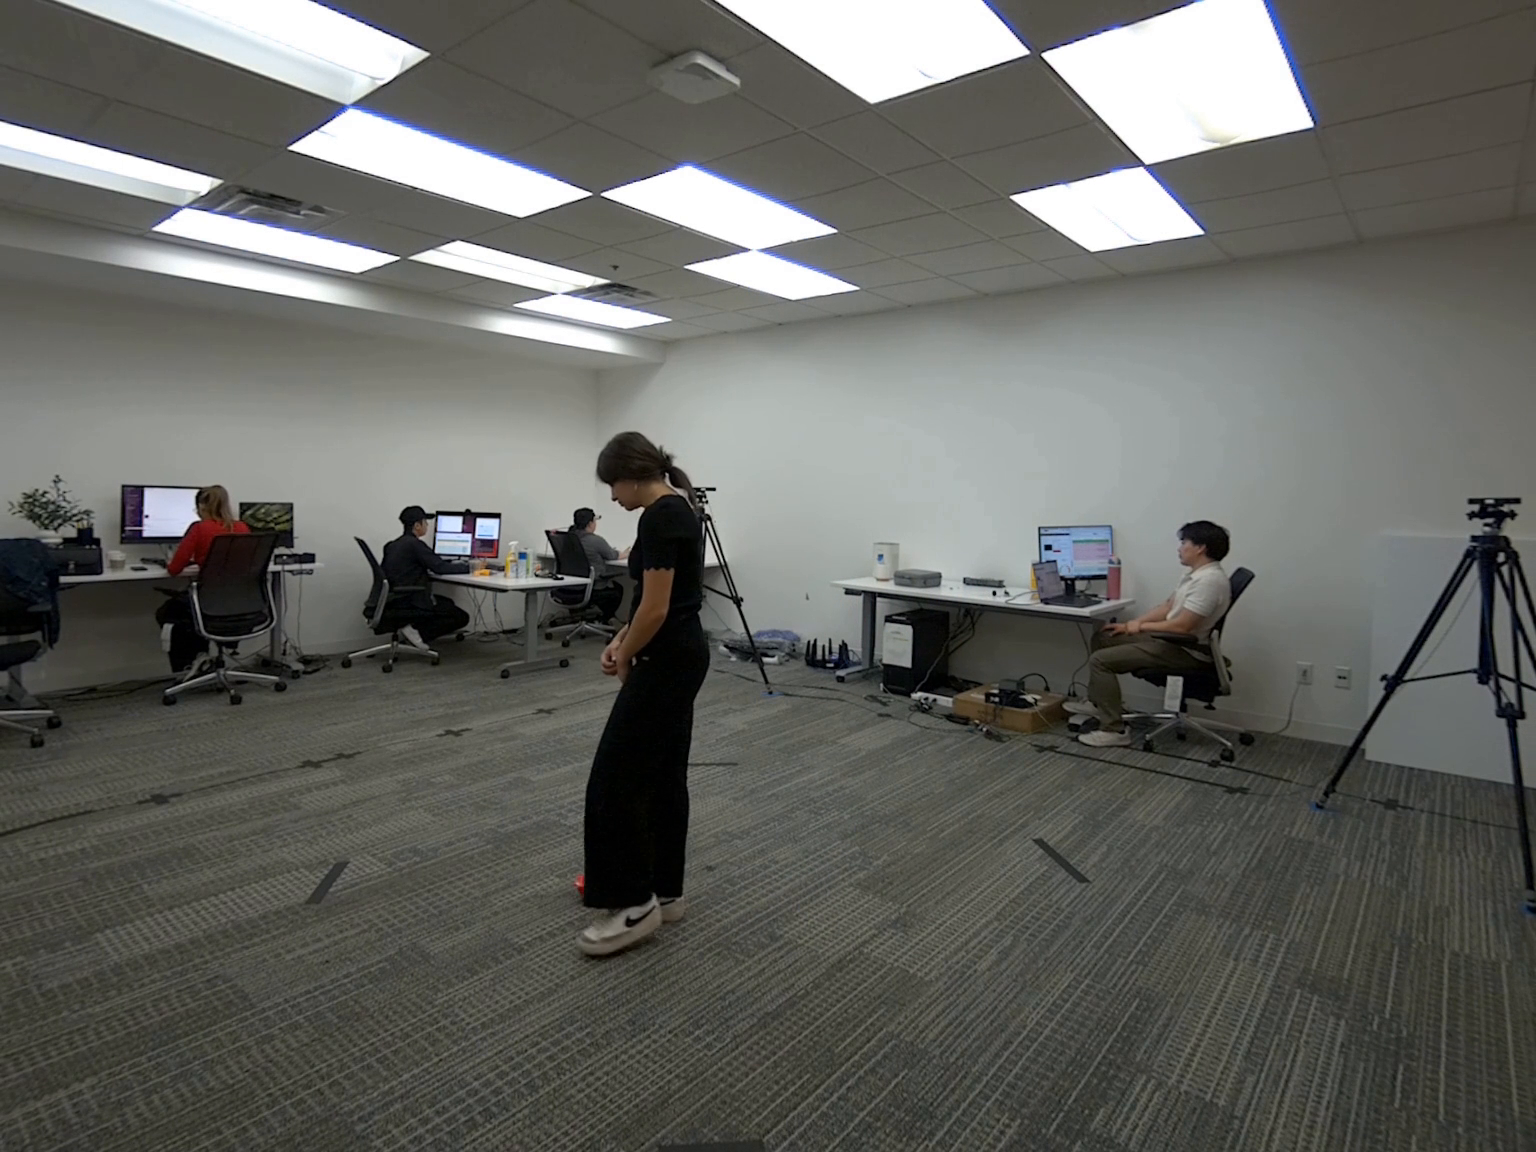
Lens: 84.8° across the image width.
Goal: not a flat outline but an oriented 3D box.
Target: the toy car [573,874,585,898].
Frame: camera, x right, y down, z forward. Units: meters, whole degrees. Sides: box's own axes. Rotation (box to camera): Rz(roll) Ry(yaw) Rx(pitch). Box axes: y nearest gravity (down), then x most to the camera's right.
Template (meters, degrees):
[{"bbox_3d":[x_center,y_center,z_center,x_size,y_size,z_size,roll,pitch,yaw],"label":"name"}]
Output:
[{"bbox_3d":[-0.542,1.048,2.879,0.255,0.083,0.130,12,5,0],"label":"toy car"}]
